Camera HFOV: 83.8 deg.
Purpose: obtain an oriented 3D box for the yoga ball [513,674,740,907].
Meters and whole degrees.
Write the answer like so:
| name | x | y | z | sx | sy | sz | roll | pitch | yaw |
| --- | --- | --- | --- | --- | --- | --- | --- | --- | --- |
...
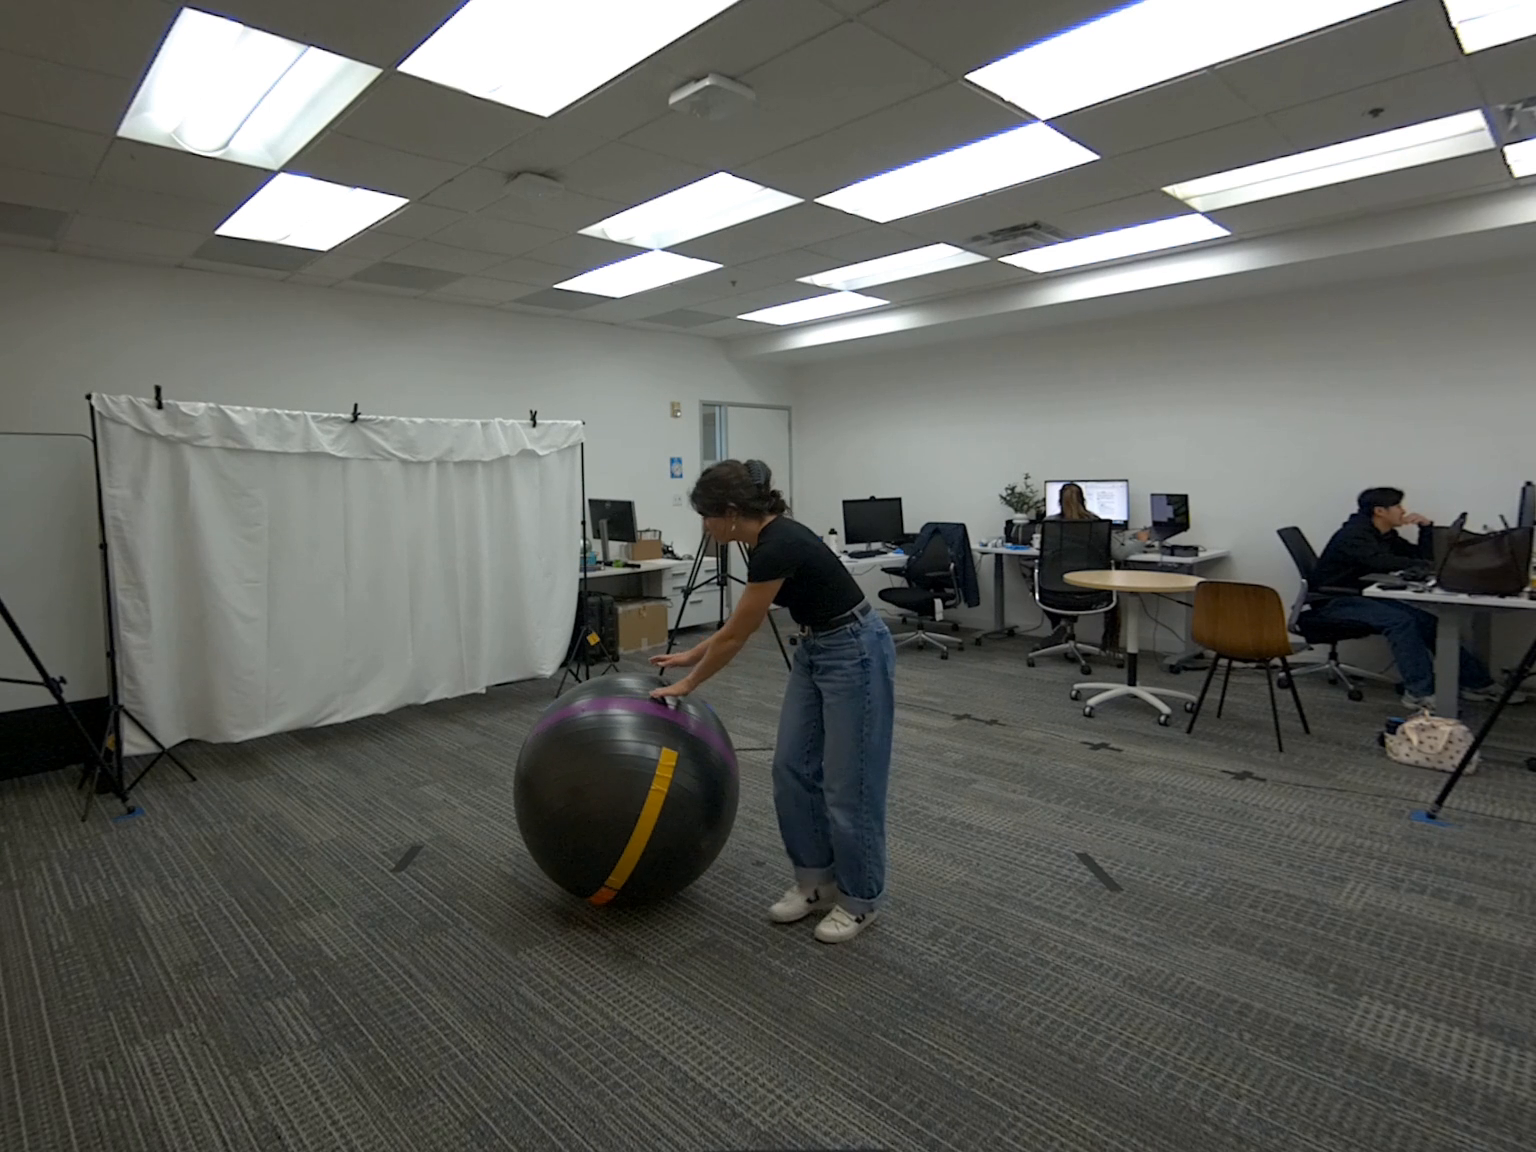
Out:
| name | x | y | z | sx | sy | sz | roll | pitch | yaw |
| --- | --- | --- | --- | --- | --- | --- | --- | --- | --- |
| yoga ball | -0.476 | 0.712 | 2.892 | 0.757 | 0.755 | 0.762 | -1 | 5 | -2 |
